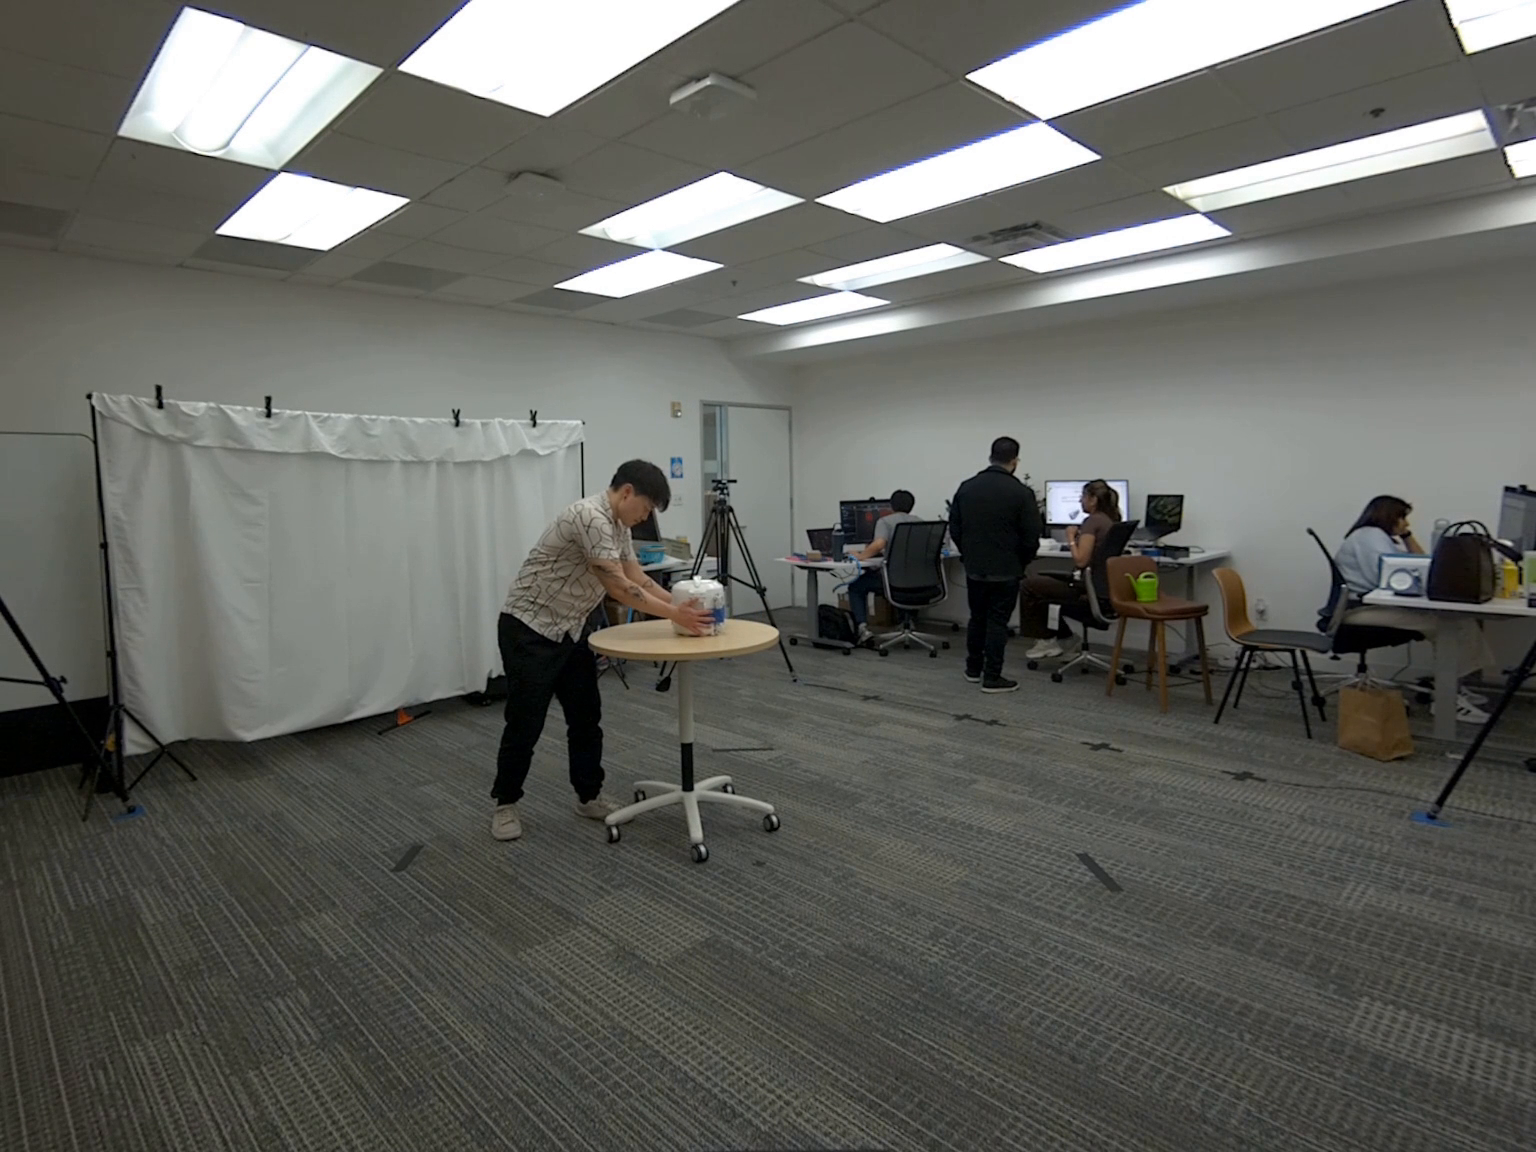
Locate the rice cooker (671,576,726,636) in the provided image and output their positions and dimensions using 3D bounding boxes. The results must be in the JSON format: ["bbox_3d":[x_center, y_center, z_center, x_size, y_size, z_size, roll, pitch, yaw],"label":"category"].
[{"bbox_3d":[-0.285,0.116,3.448,0.217,0.232,0.221,-1,3,-2],"label":"rice cooker"}]
